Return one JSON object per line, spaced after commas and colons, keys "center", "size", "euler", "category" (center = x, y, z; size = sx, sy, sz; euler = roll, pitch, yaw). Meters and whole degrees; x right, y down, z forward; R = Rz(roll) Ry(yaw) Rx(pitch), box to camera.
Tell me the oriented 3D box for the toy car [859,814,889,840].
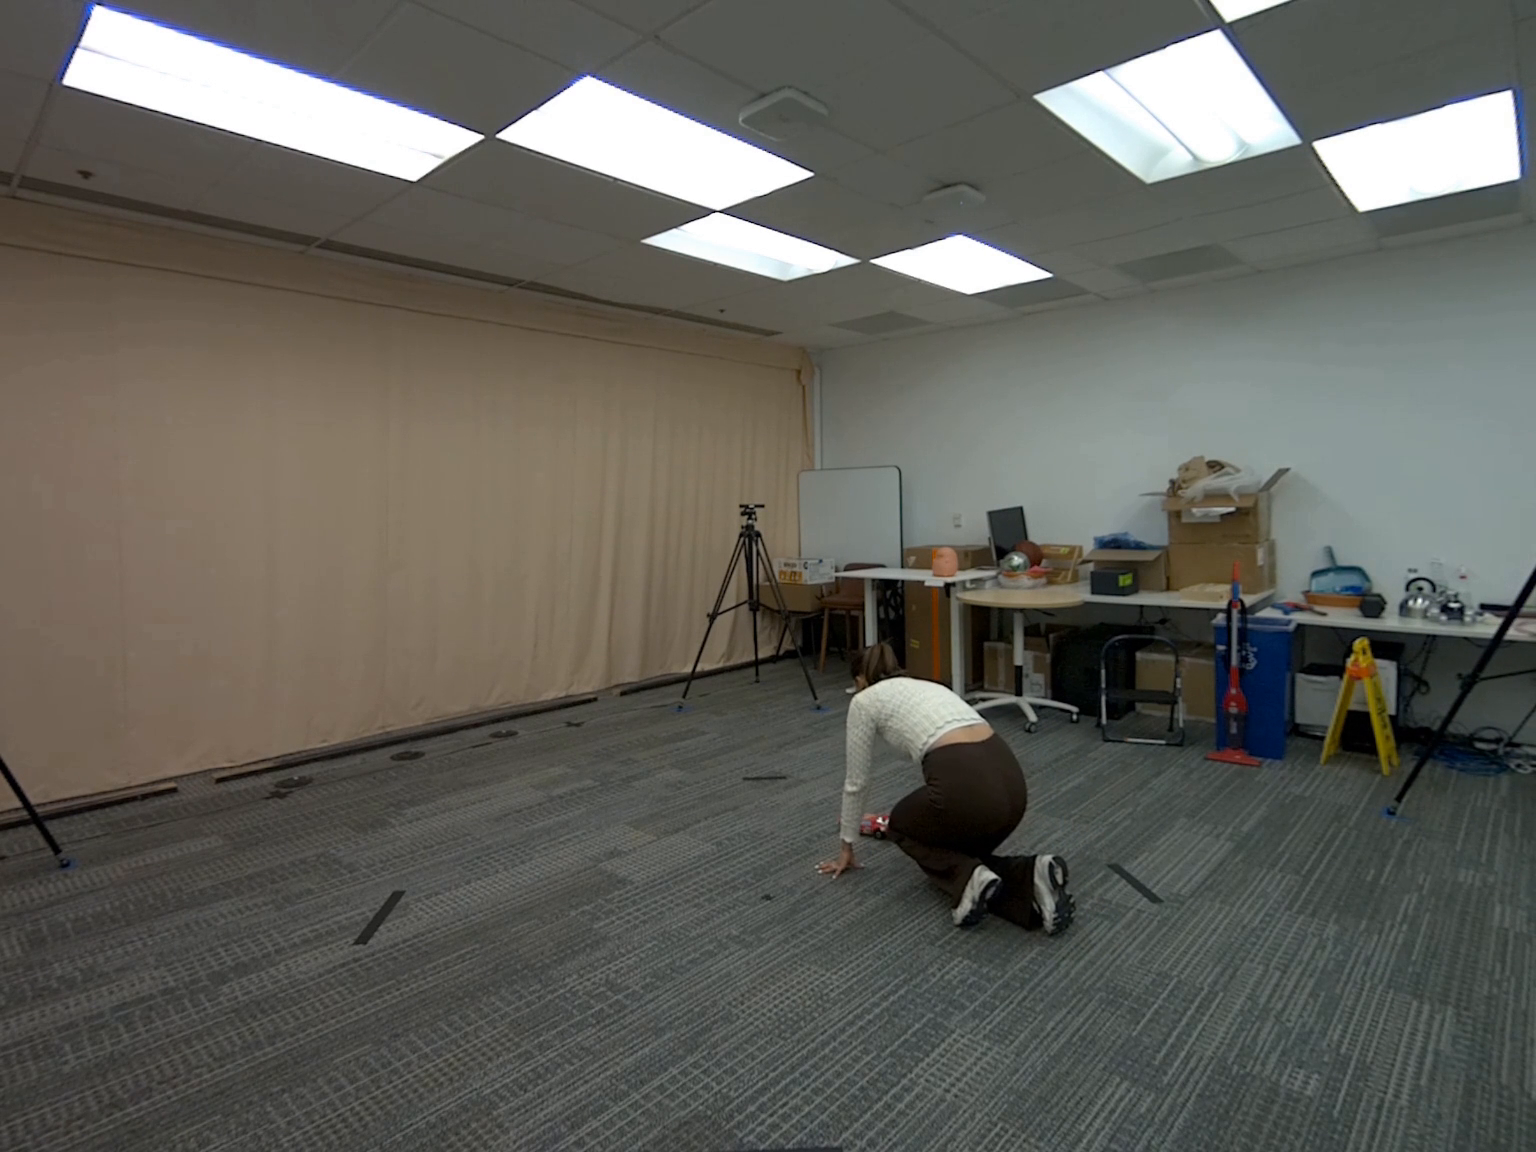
{"center": [0.430, 1.055, 3.547], "size": [0.260, 0.083, 0.127], "euler": [-9, -1, 25], "category": "toy car"}
